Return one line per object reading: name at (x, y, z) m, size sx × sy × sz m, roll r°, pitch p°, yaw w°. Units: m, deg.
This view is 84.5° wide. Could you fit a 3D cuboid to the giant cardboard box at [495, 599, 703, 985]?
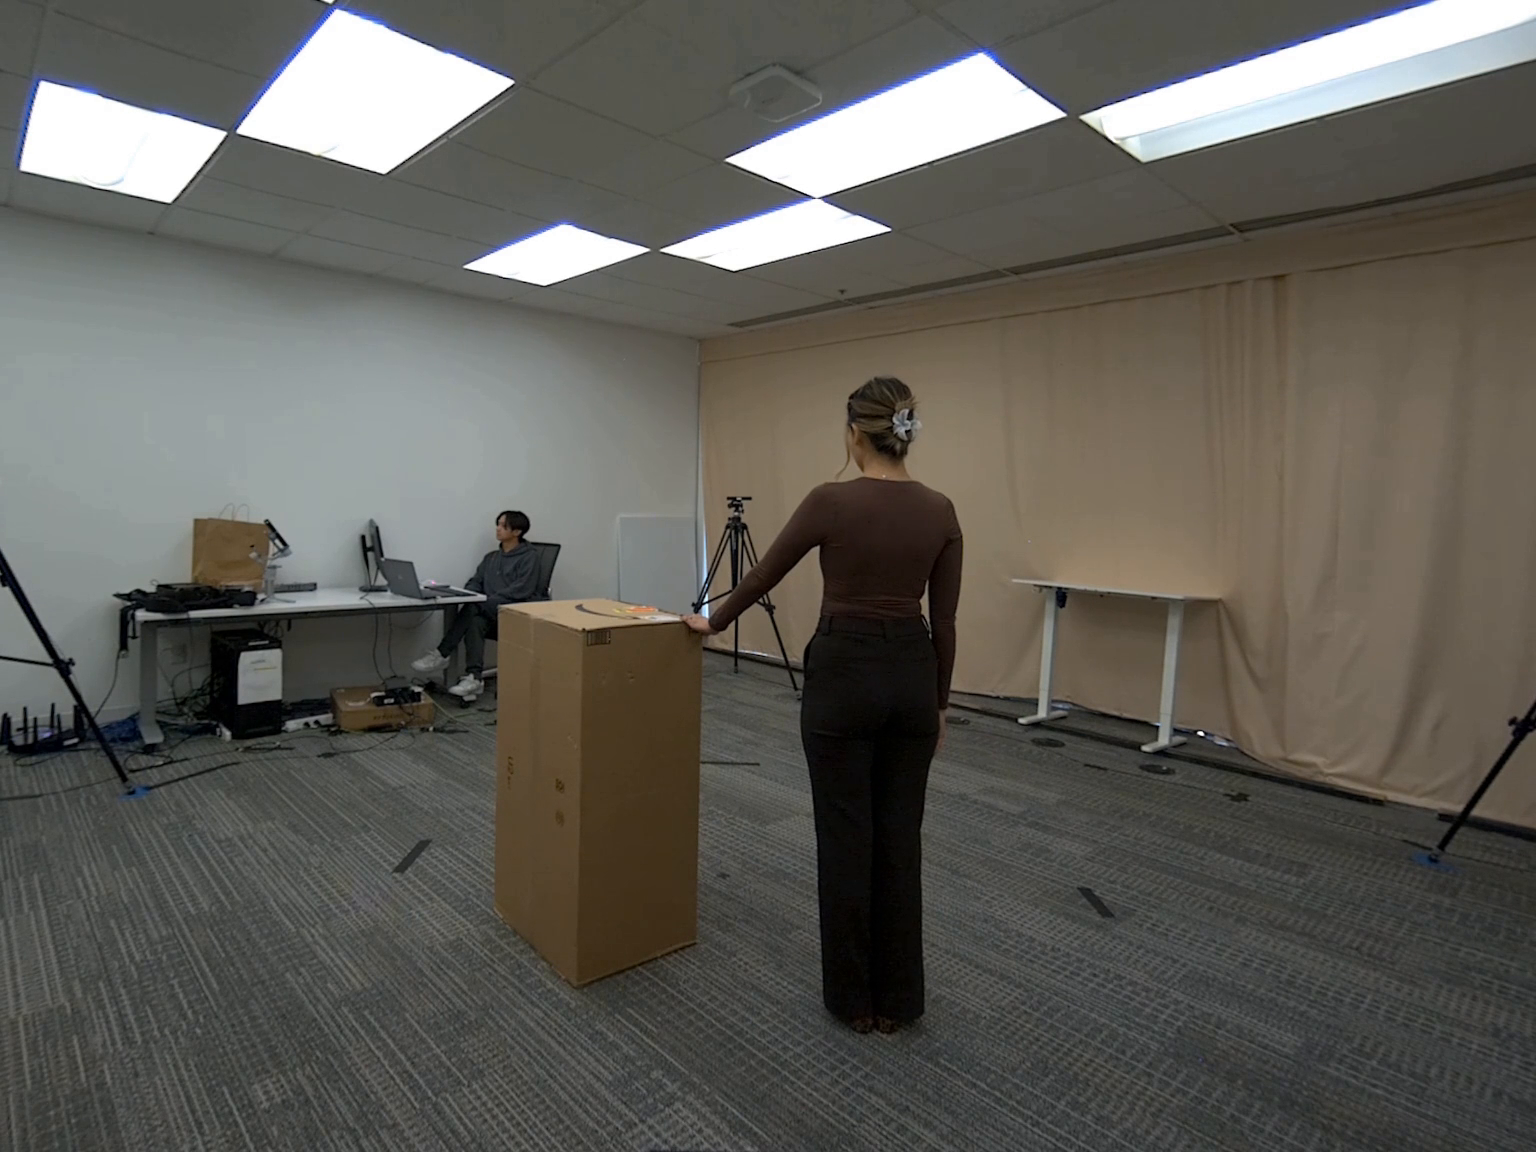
giant cardboard box at (-0.560, 0.625, 2.696) m, size 0.436 × 1.025 × 0.598 m, roll 0°, pitch 3°, yaw -38°
